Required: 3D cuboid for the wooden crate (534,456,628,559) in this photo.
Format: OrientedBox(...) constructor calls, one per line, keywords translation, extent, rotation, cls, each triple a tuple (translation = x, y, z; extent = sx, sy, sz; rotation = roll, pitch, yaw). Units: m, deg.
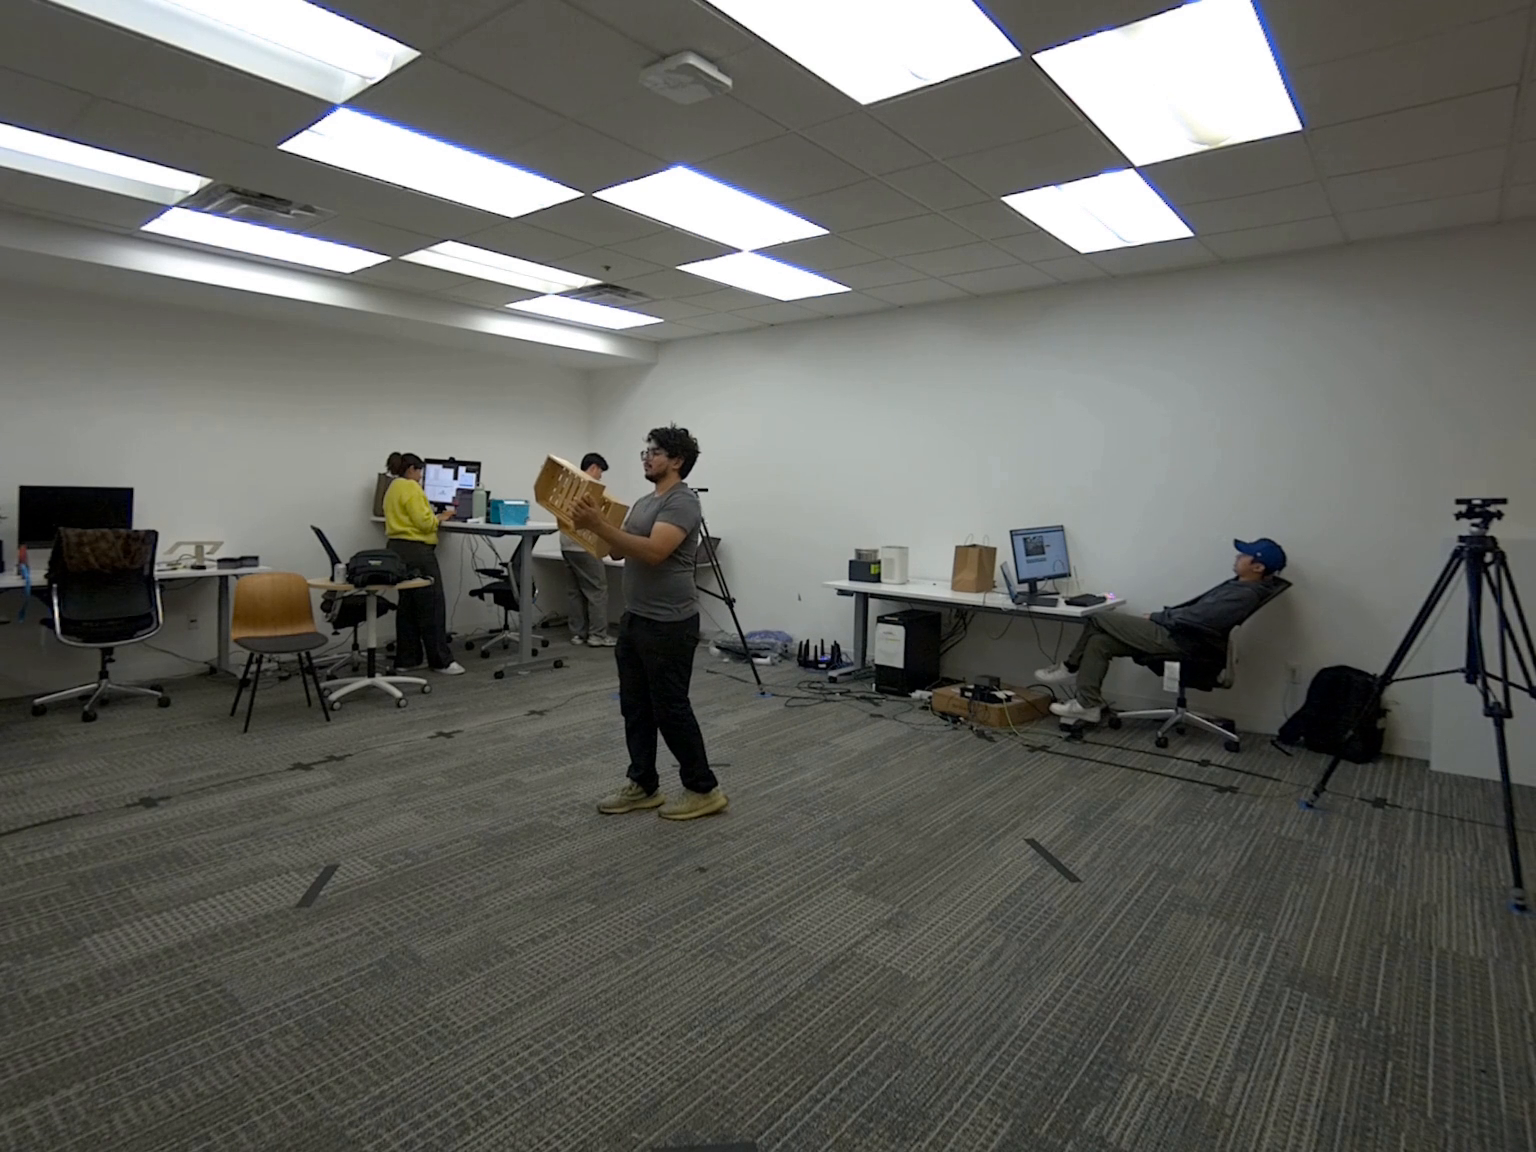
OrientedBox(translation=(-0.805, -0.283, 3.501), extent=(0.338, 0.301, 0.263), rotation=(31, 8, 37), cls="wooden crate")
